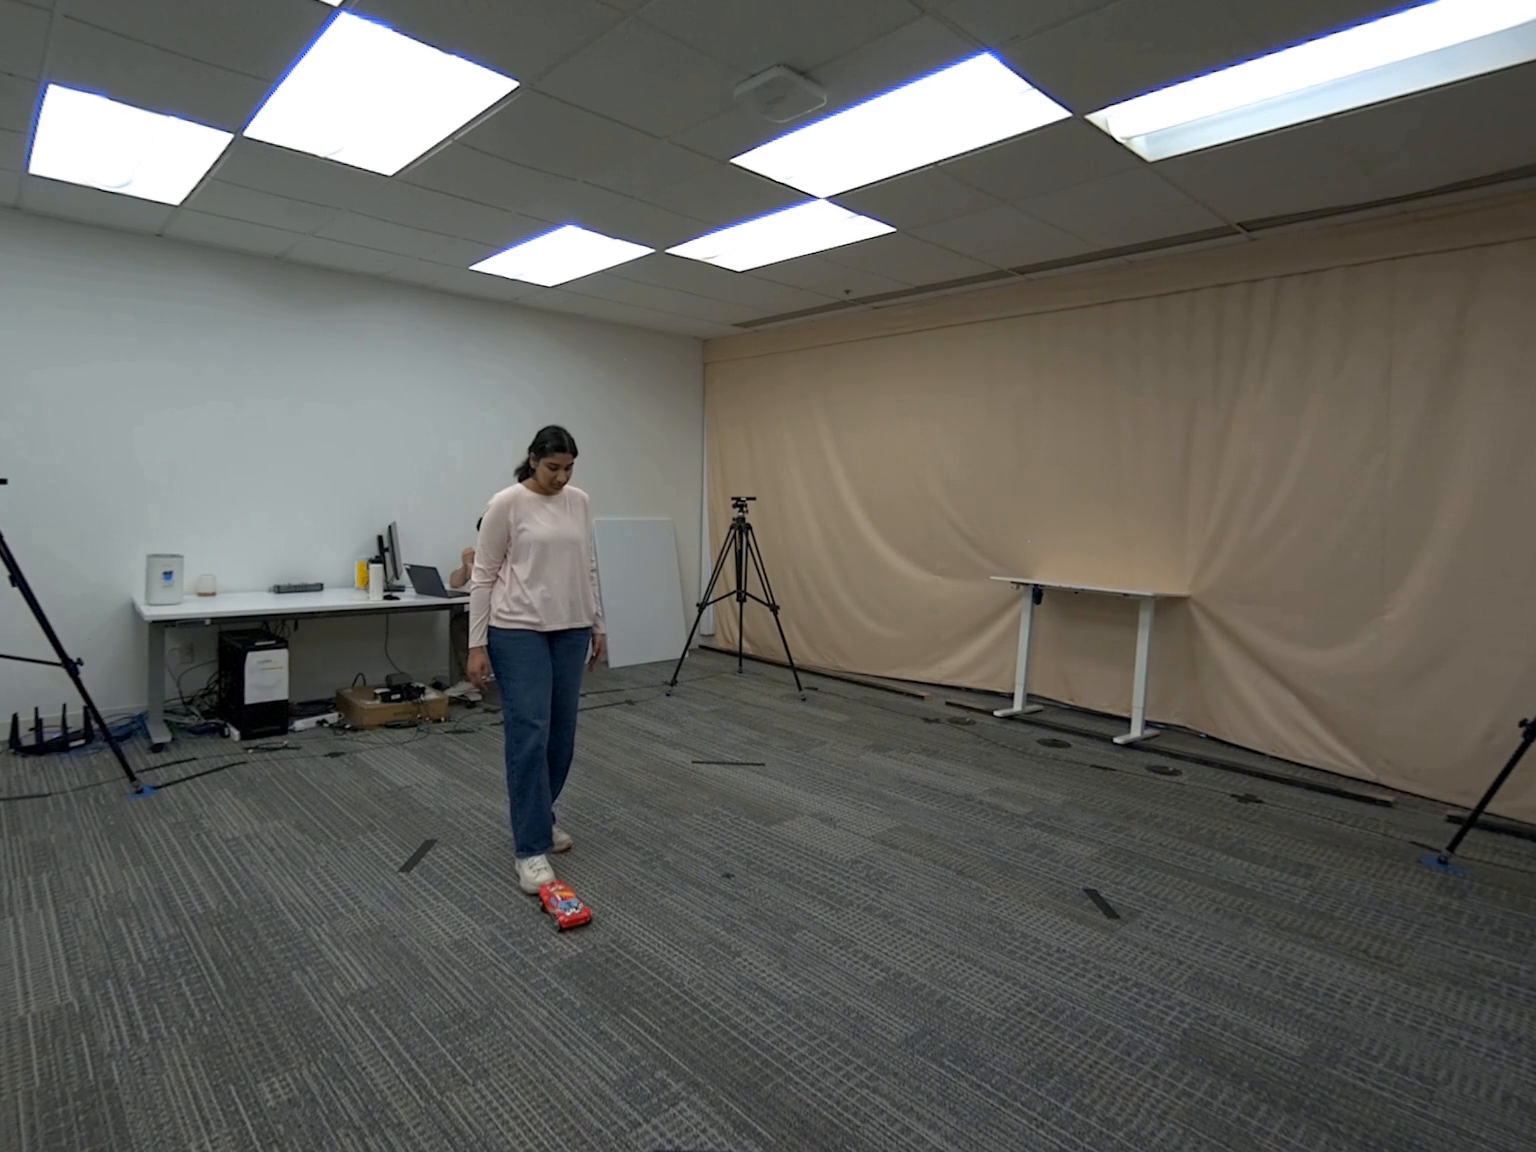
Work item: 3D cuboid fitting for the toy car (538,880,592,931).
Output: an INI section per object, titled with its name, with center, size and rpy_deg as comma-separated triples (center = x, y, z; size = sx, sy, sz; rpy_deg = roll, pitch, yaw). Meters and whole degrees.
[toy car]
center = -0.688, 1.093, 2.788
size = 0.128, 0.082, 0.262
rpy_deg = -3, 17, -32
